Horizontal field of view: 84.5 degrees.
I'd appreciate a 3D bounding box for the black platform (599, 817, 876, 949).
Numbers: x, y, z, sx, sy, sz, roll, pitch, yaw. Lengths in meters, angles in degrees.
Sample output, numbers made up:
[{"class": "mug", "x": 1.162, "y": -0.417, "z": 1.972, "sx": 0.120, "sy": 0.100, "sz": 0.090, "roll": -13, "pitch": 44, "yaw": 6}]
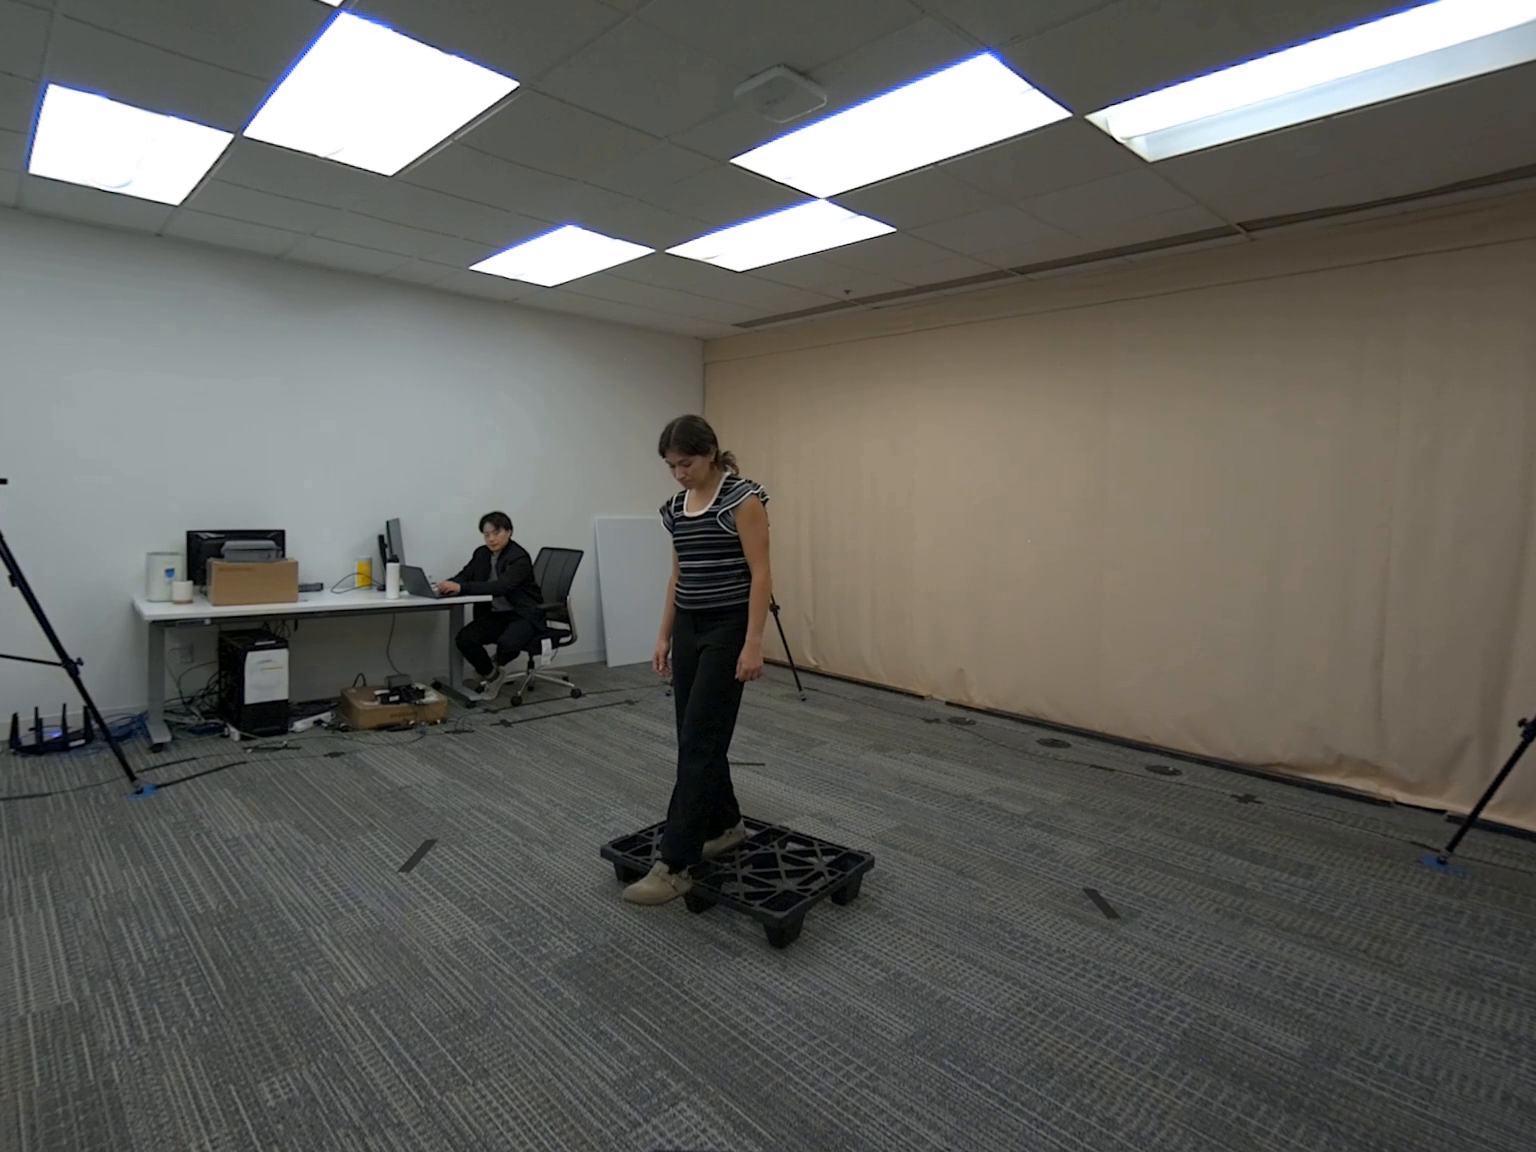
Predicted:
[{"class": "black platform", "x": -0.119, "y": 1.049, "z": 3.003, "sx": 0.825, "sy": 0.143, "sz": 0.592, "roll": 5, "pitch": 7, "yaw": 37}]
